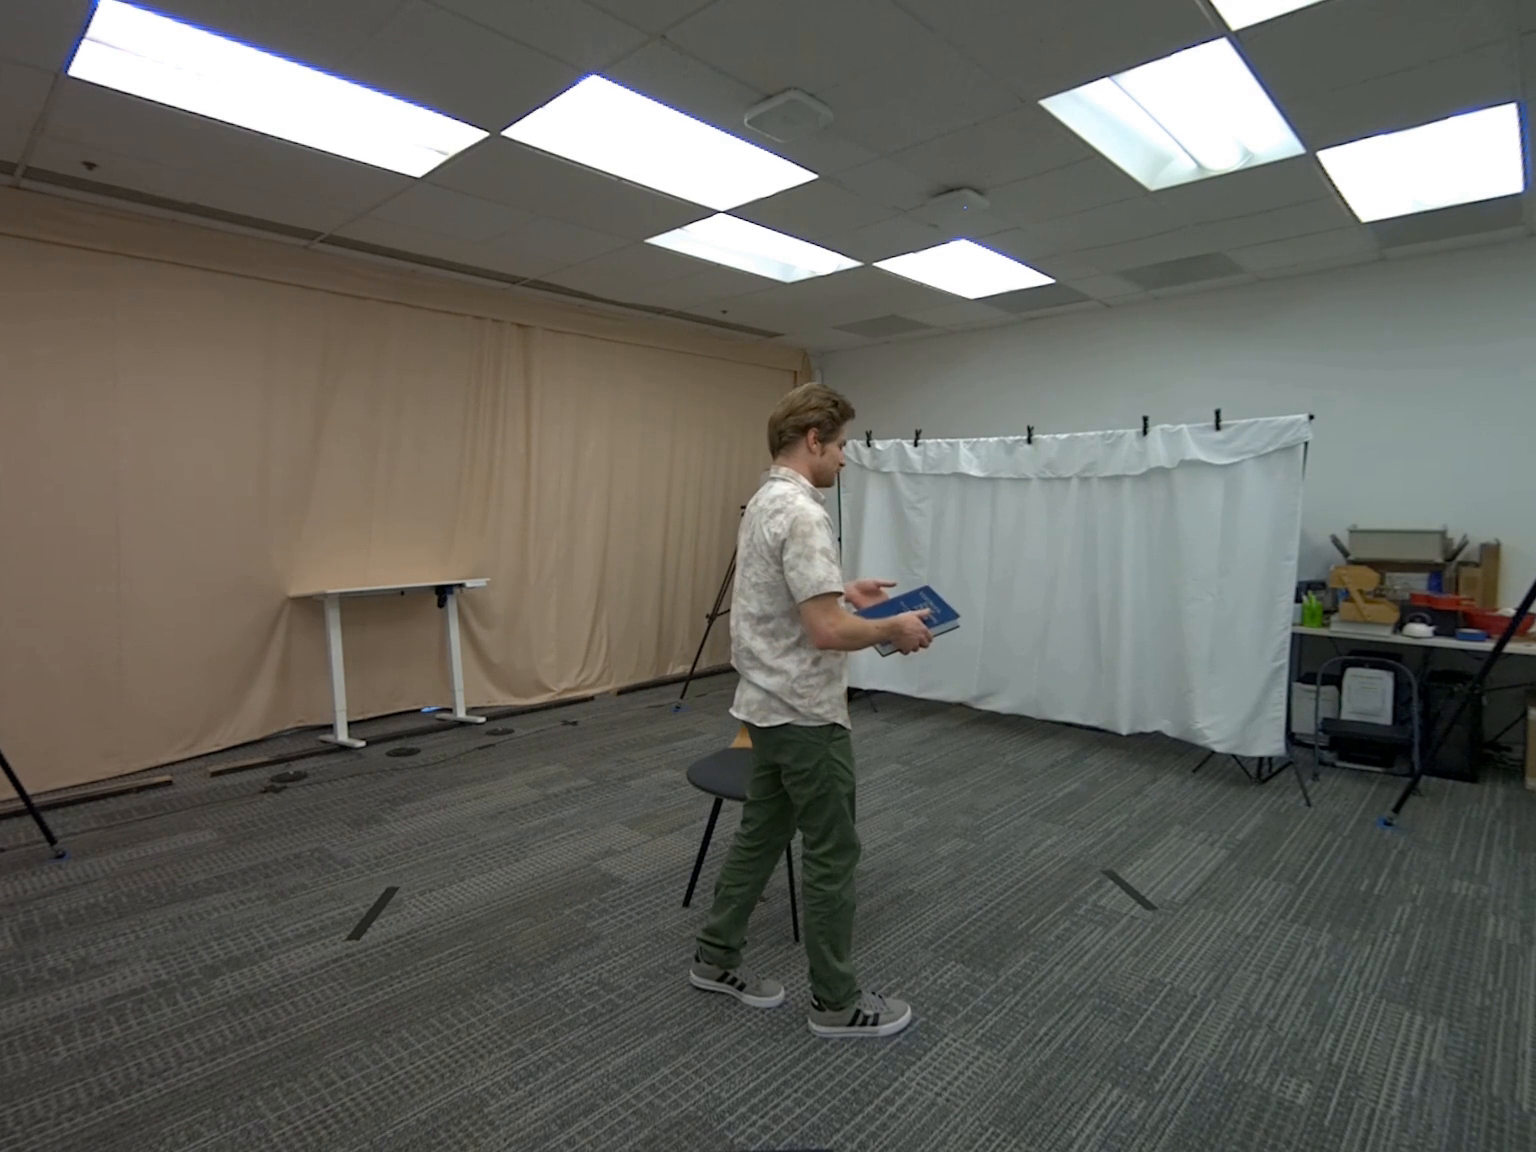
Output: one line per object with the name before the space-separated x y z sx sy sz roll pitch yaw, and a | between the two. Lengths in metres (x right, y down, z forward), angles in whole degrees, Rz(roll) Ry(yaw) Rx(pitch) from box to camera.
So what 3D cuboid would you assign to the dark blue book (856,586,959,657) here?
dark blue book | 0.388 0.118 2.320 0.243 0.044 0.168 -17 38 -10
